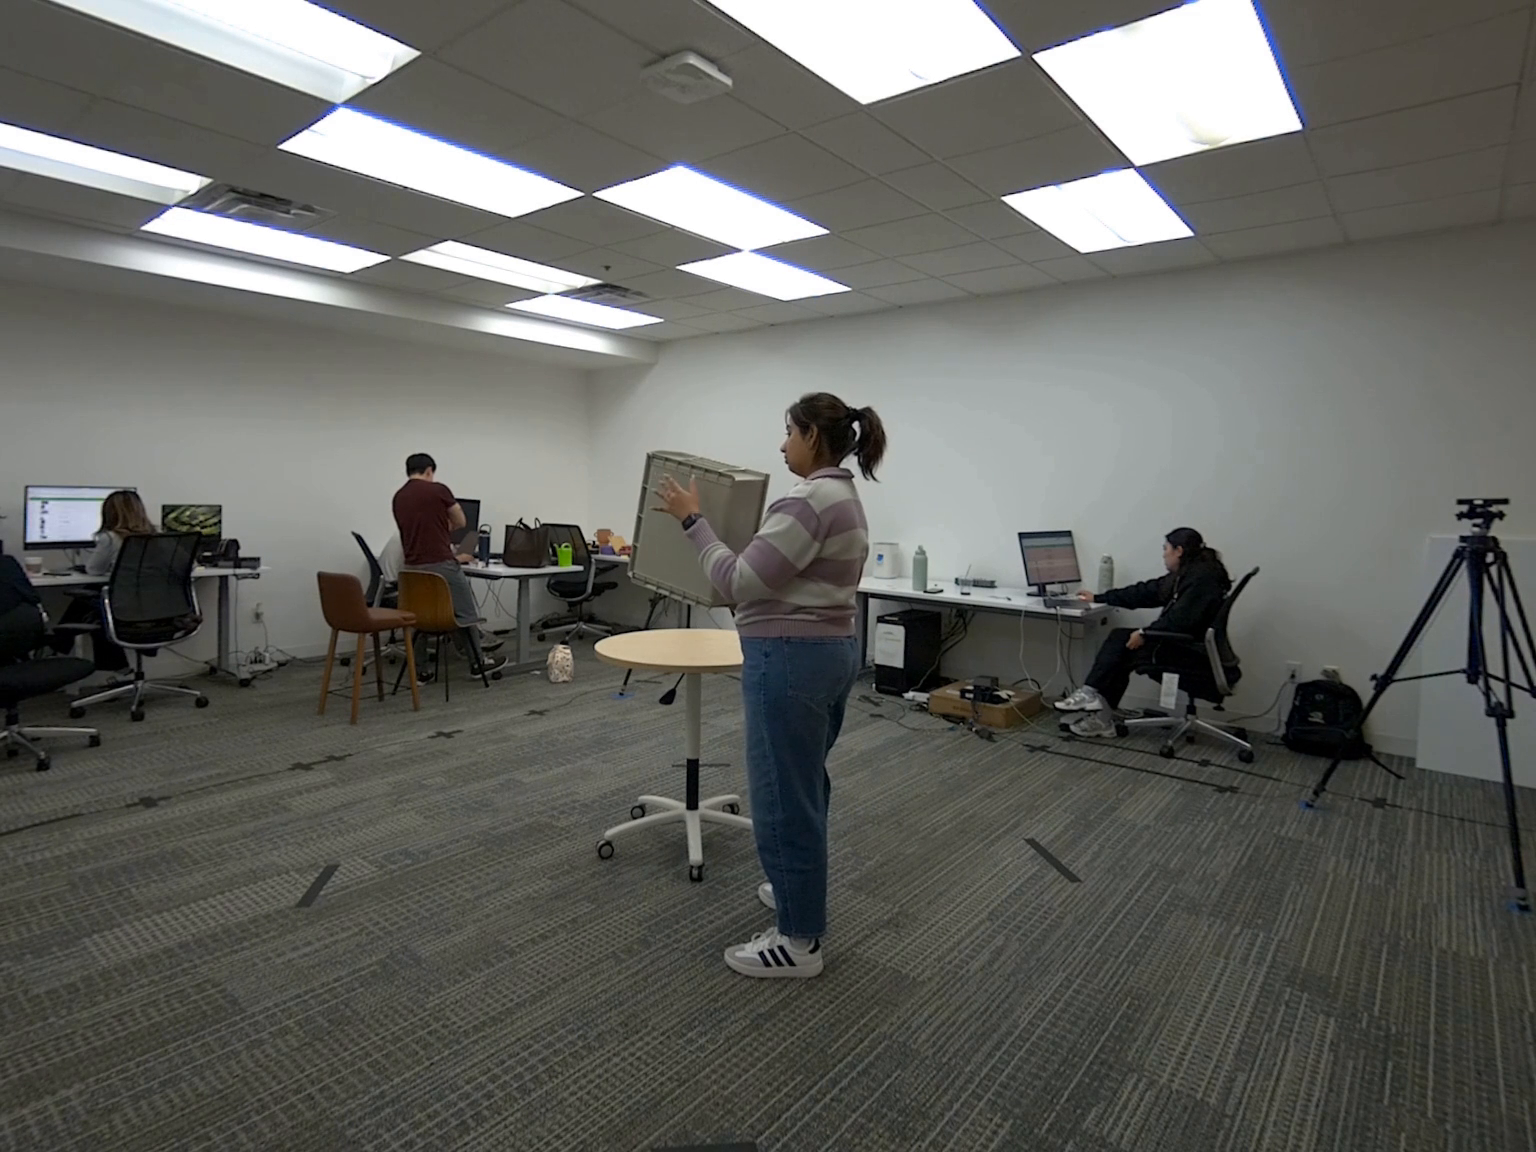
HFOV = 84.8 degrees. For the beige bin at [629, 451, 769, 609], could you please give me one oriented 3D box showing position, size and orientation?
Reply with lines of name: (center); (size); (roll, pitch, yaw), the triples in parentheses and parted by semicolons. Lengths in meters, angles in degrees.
beige bin: (-0.249, -0.150, 2.646); (0.391, 0.418, 0.184); (18, 14, 33)
